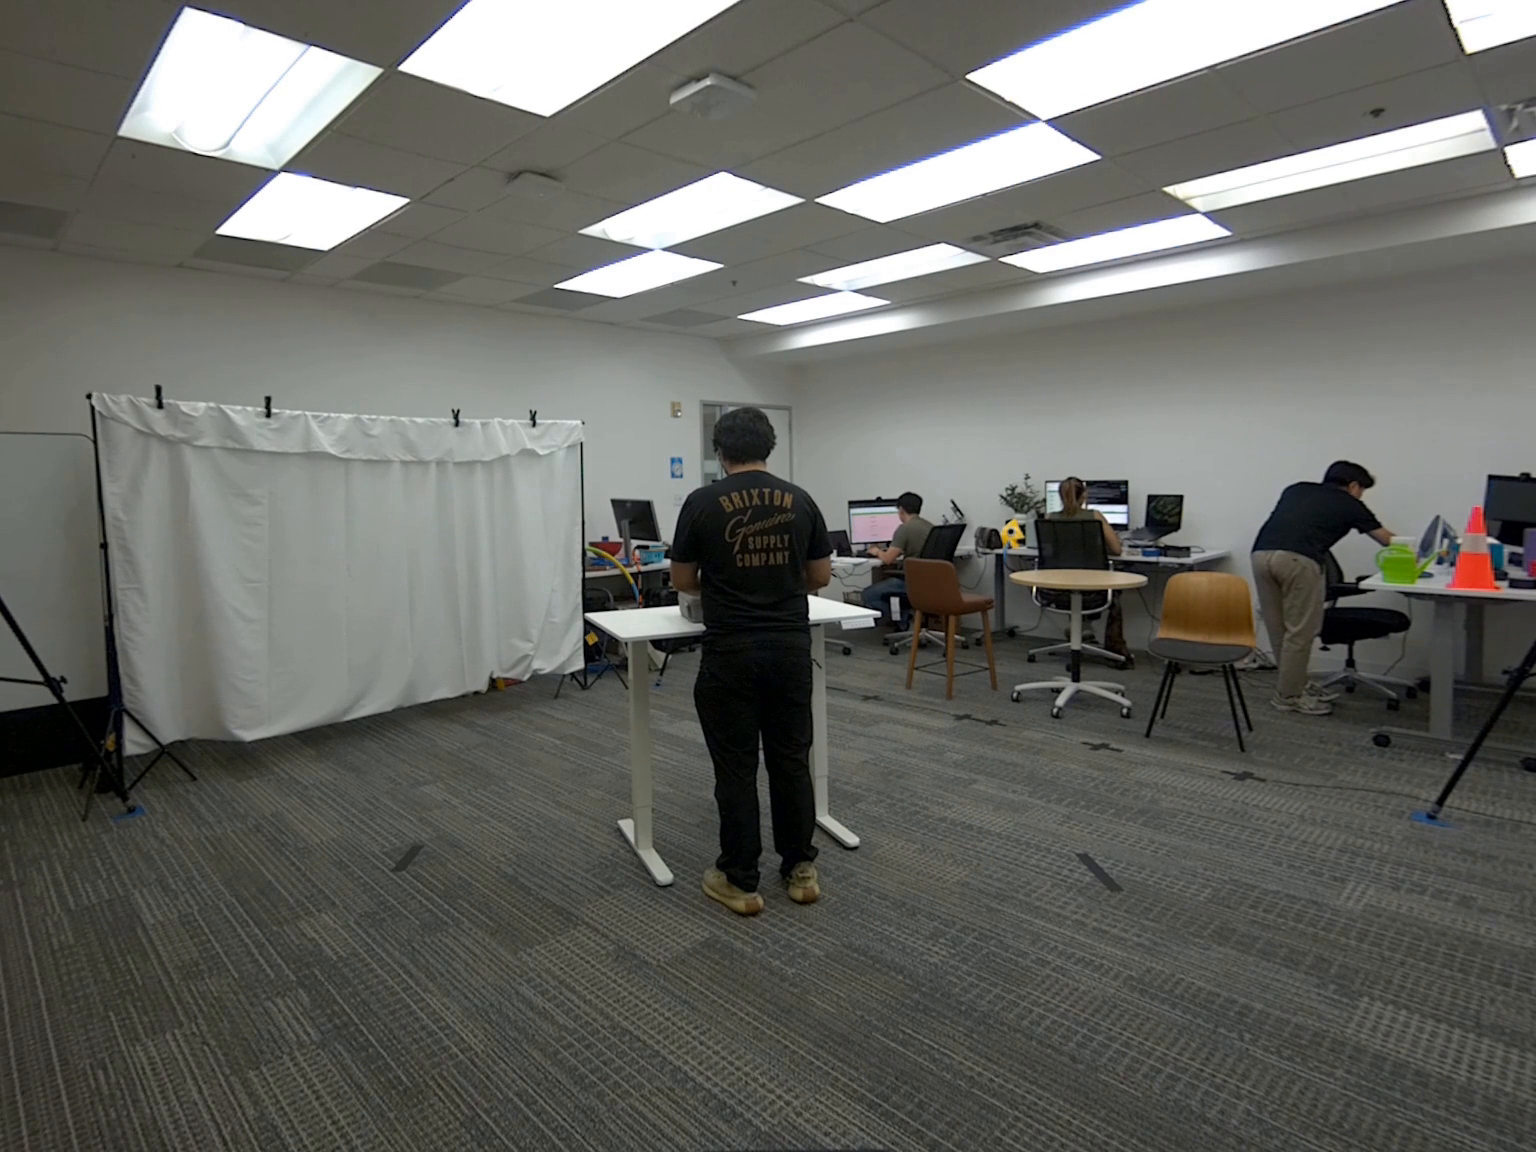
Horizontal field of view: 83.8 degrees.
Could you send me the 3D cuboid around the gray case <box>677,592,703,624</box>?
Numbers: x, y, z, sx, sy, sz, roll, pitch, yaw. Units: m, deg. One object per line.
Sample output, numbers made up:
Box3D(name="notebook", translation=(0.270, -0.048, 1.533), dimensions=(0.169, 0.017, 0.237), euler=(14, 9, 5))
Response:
Box3D(name="gray case", translation=(-0.202, 0.105, 3.226), dimensions=(0.257, 0.104, 0.262), euler=(-6, 8, -15))
